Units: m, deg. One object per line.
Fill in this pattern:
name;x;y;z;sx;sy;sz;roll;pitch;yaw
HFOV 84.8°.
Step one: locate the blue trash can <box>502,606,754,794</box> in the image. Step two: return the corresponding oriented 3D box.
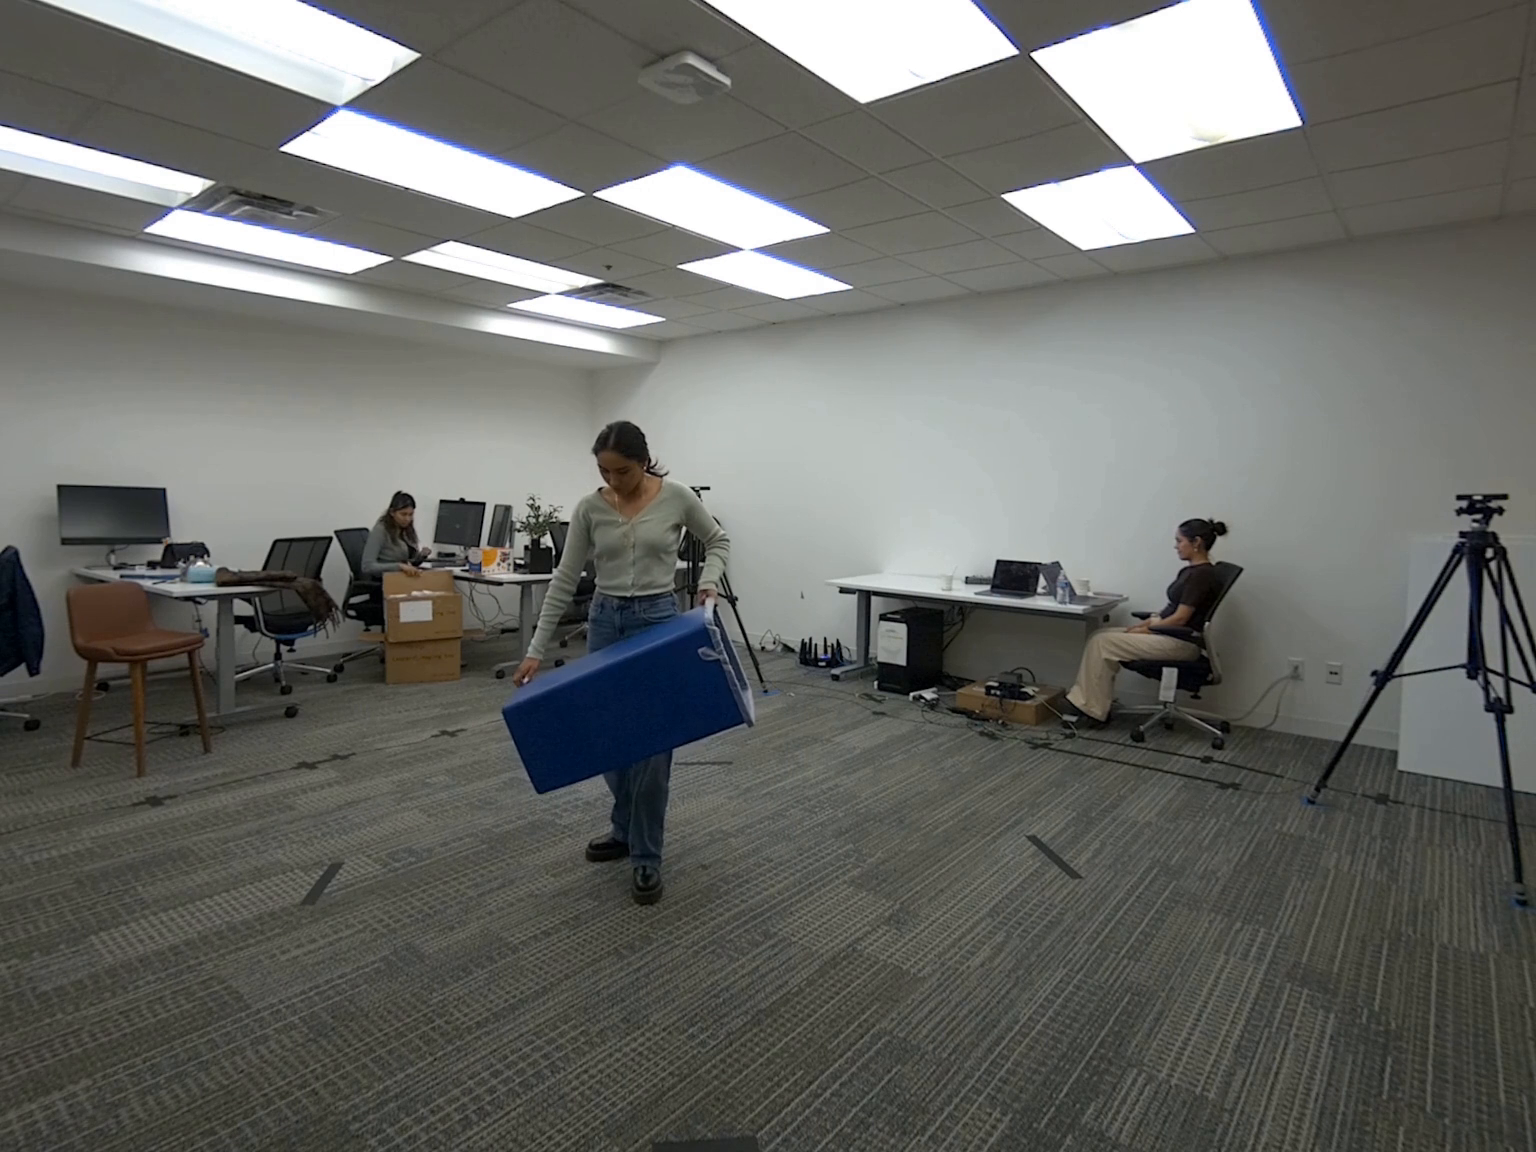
blue trash can;-0.450;0.385;2.751;0.715;0.375;0.376;-22;6;3
